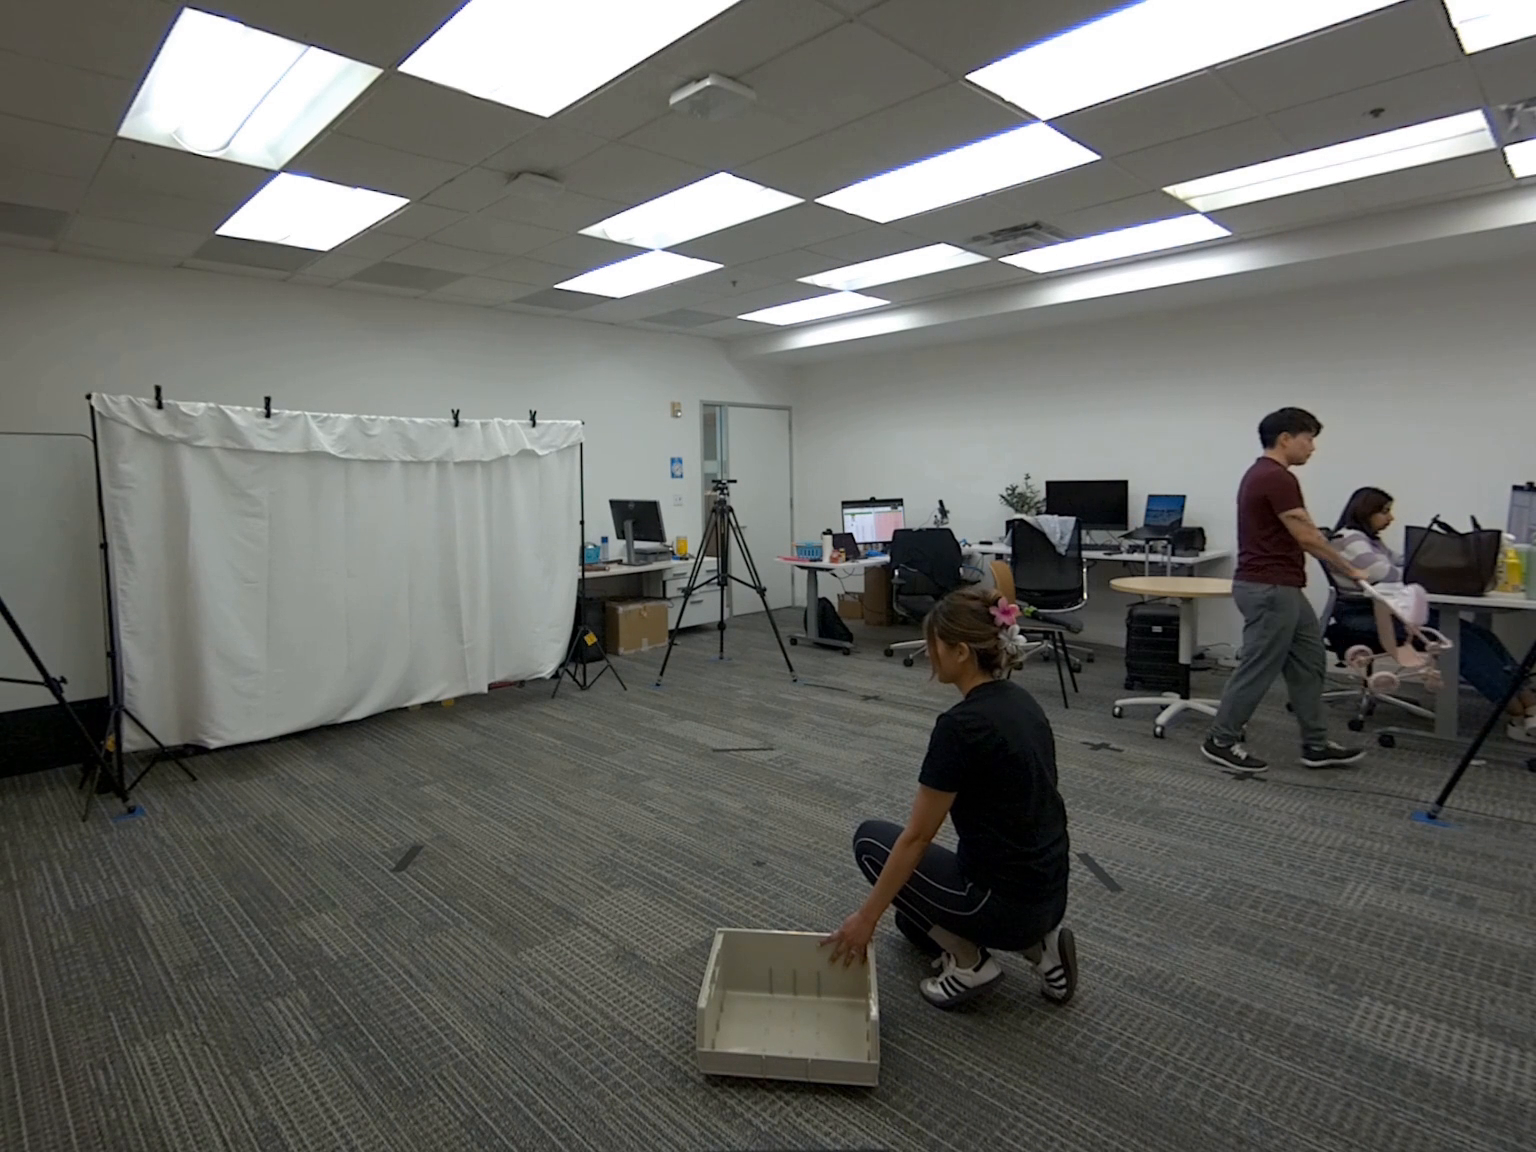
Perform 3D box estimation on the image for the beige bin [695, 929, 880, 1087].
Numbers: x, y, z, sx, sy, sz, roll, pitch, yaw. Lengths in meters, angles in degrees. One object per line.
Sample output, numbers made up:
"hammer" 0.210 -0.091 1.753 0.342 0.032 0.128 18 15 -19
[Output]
"beige bin" 0.066 1.075 2.114 0.425 0.188 0.376 -1 5 6
